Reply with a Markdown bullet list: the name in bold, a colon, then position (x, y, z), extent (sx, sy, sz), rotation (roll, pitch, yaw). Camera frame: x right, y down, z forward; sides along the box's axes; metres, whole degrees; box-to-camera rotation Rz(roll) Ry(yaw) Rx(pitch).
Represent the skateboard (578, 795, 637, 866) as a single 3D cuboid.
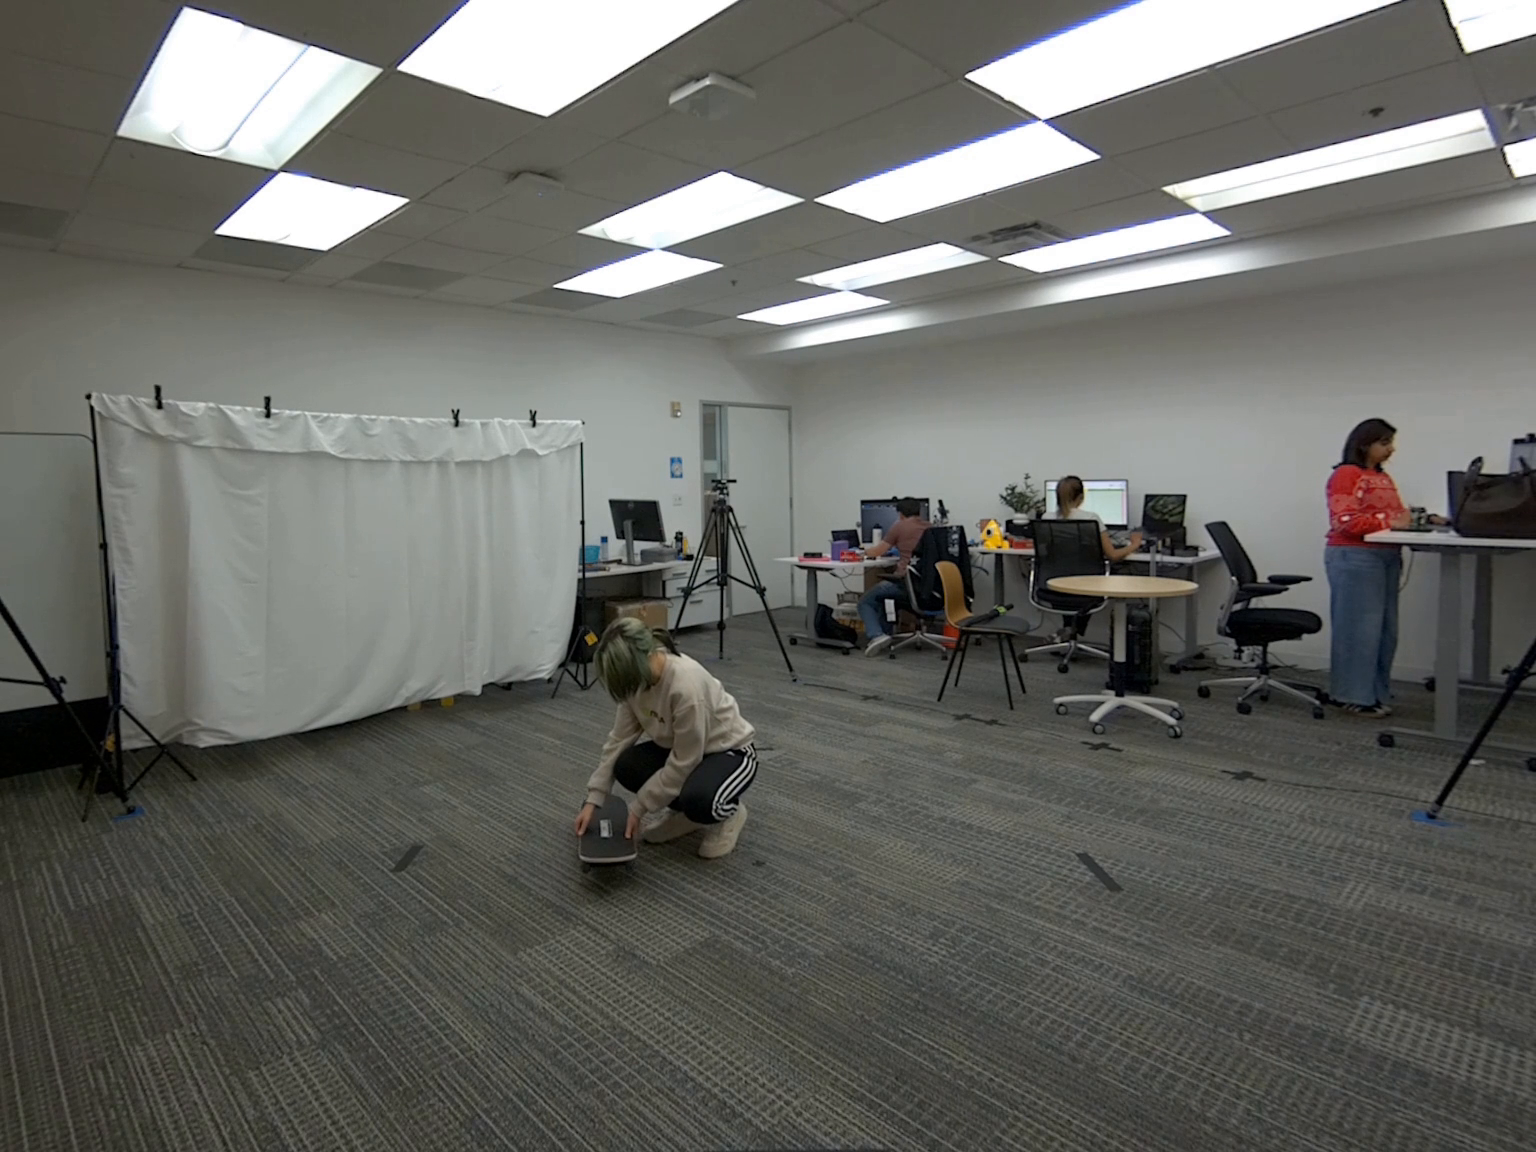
- **skateboard**: position (-0.605, 0.967, 3.179), extent (0.191, 0.110, 0.794), rotation (-1, 2, -13)
